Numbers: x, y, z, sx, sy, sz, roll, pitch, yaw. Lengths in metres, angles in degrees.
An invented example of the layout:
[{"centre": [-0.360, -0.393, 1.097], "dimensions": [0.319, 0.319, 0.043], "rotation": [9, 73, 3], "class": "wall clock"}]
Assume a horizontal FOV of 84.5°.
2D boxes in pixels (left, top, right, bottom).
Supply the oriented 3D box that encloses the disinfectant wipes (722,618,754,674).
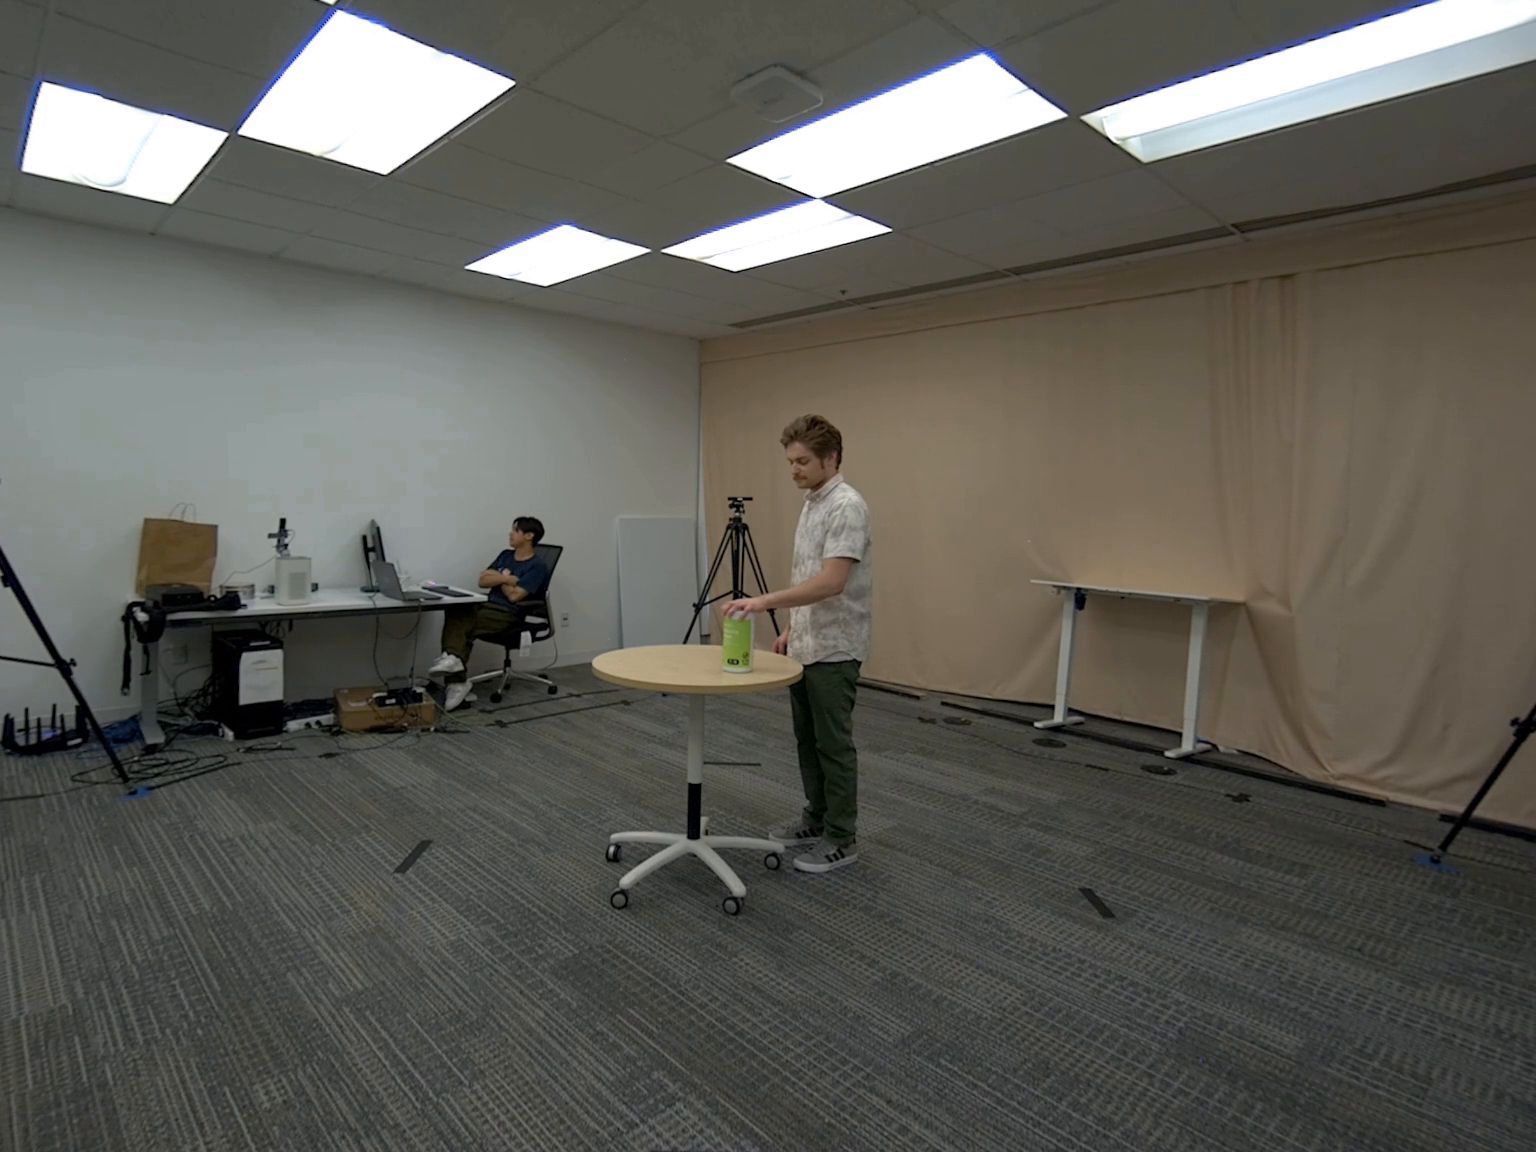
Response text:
[{"centre": [-0.108, 0.225, 2.948], "dimensions": [0.118, 0.217, 0.118], "rotation": [2, 4, -2], "class": "disinfectant wipes"}]
